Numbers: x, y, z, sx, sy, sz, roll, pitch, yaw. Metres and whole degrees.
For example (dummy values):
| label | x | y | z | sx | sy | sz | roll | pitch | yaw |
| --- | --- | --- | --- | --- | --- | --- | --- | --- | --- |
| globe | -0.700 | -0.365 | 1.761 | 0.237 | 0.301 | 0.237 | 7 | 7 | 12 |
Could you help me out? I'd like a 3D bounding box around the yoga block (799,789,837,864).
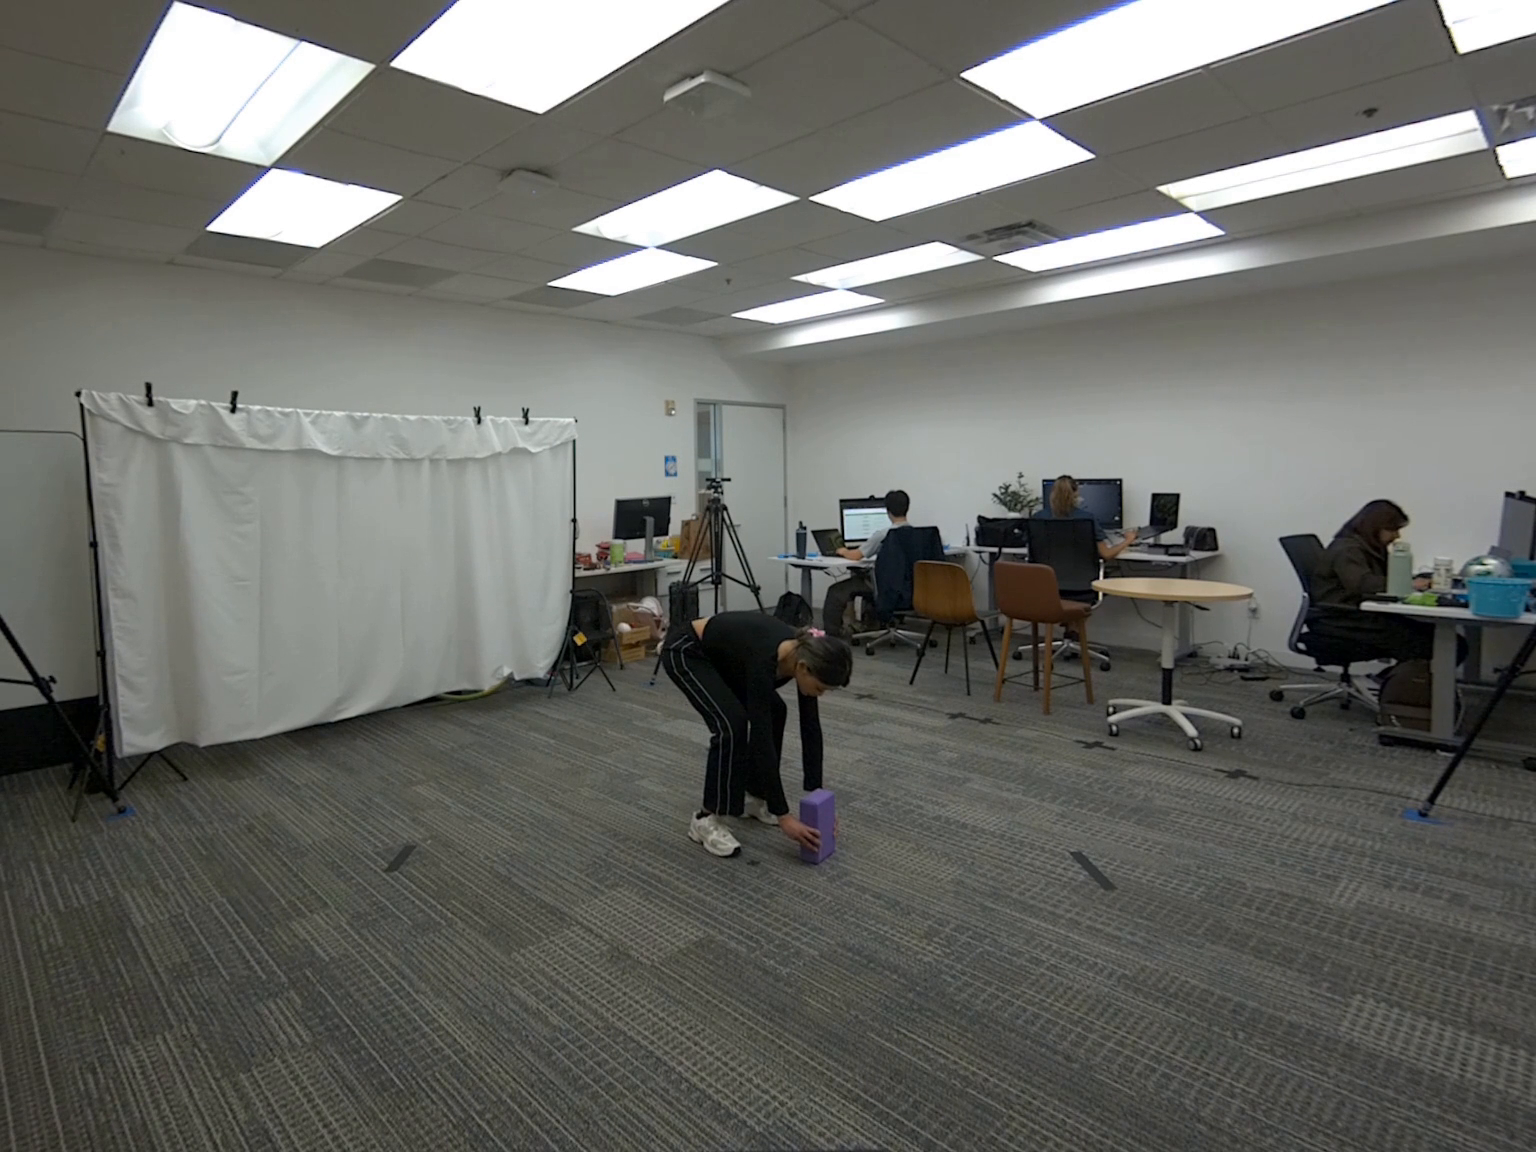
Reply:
| label | x | y | z | sx | sy | sz | roll | pitch | yaw |
| --- | --- | --- | --- | --- | --- | --- | --- | --- | --- |
| yoga block | 0.182 | 0.922 | 3.143 | 0.078 | 0.228 | 0.146 | 7 | 8 | 30 |
